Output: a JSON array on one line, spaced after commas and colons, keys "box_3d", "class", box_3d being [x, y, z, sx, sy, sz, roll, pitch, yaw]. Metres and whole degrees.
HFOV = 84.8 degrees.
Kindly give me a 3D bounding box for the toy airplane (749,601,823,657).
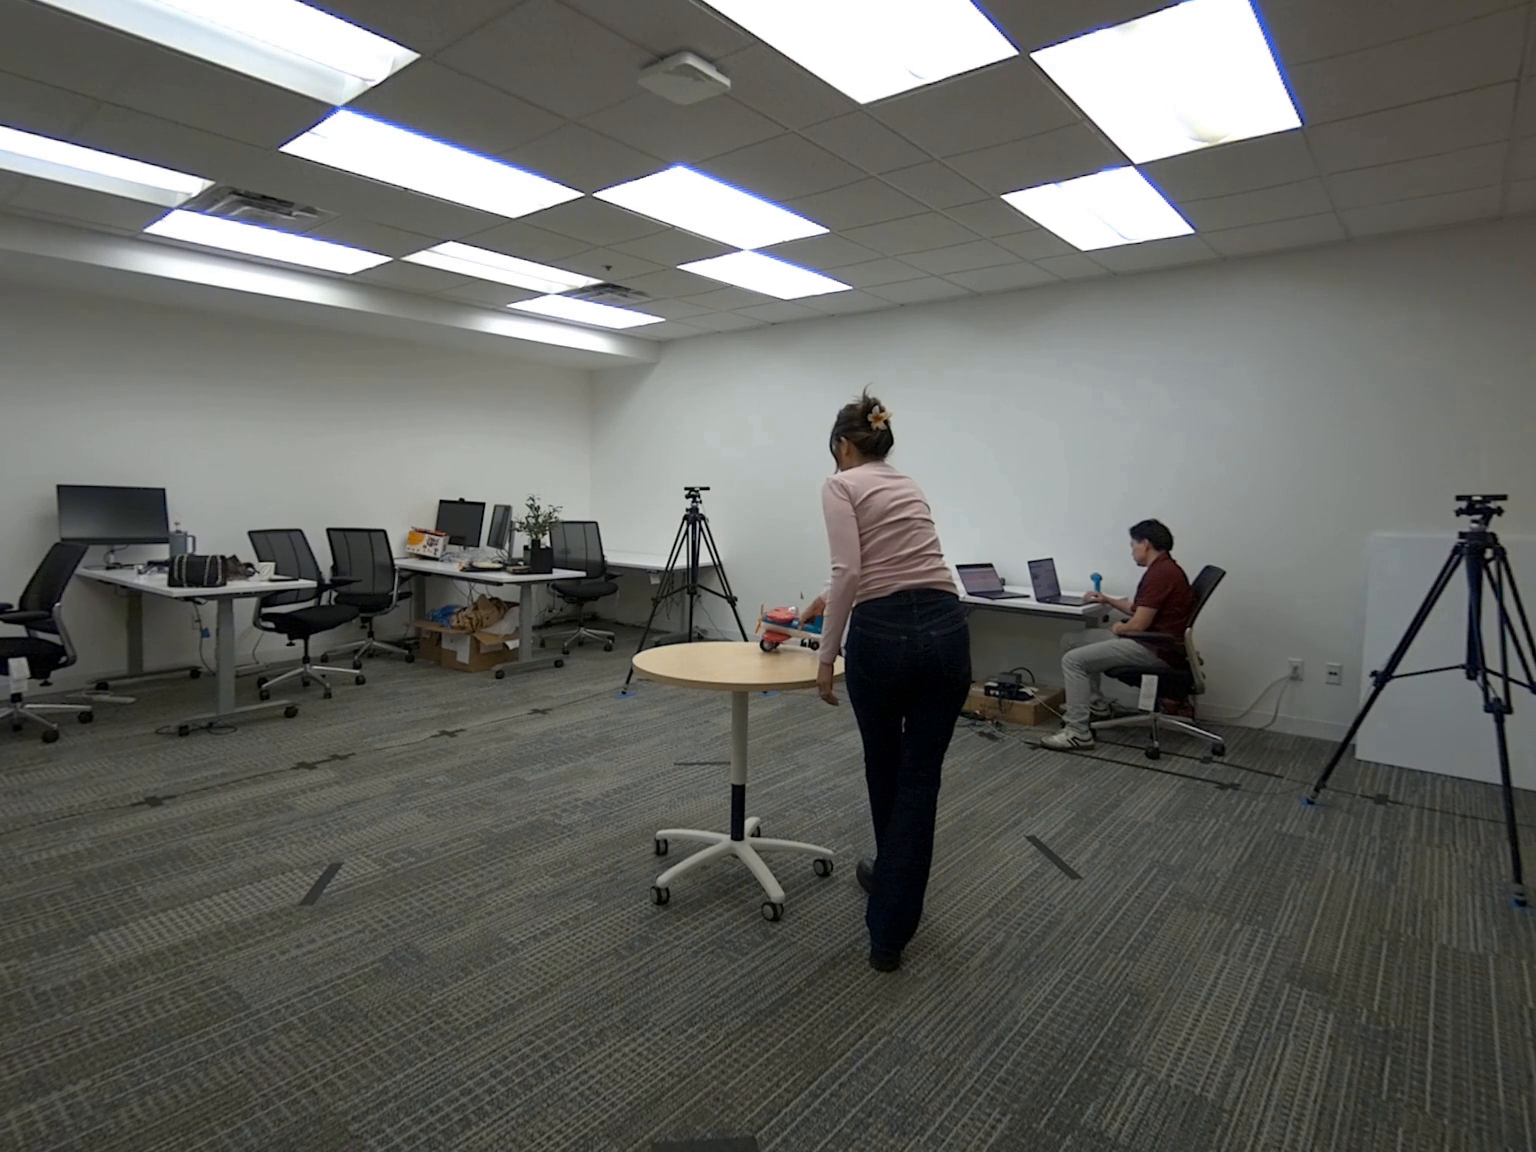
[{"box_3d": [0.082, 0.194, 3.208, 0.257, 0.156, 0.254, -6, 3, -9], "class": "toy airplane"}]
